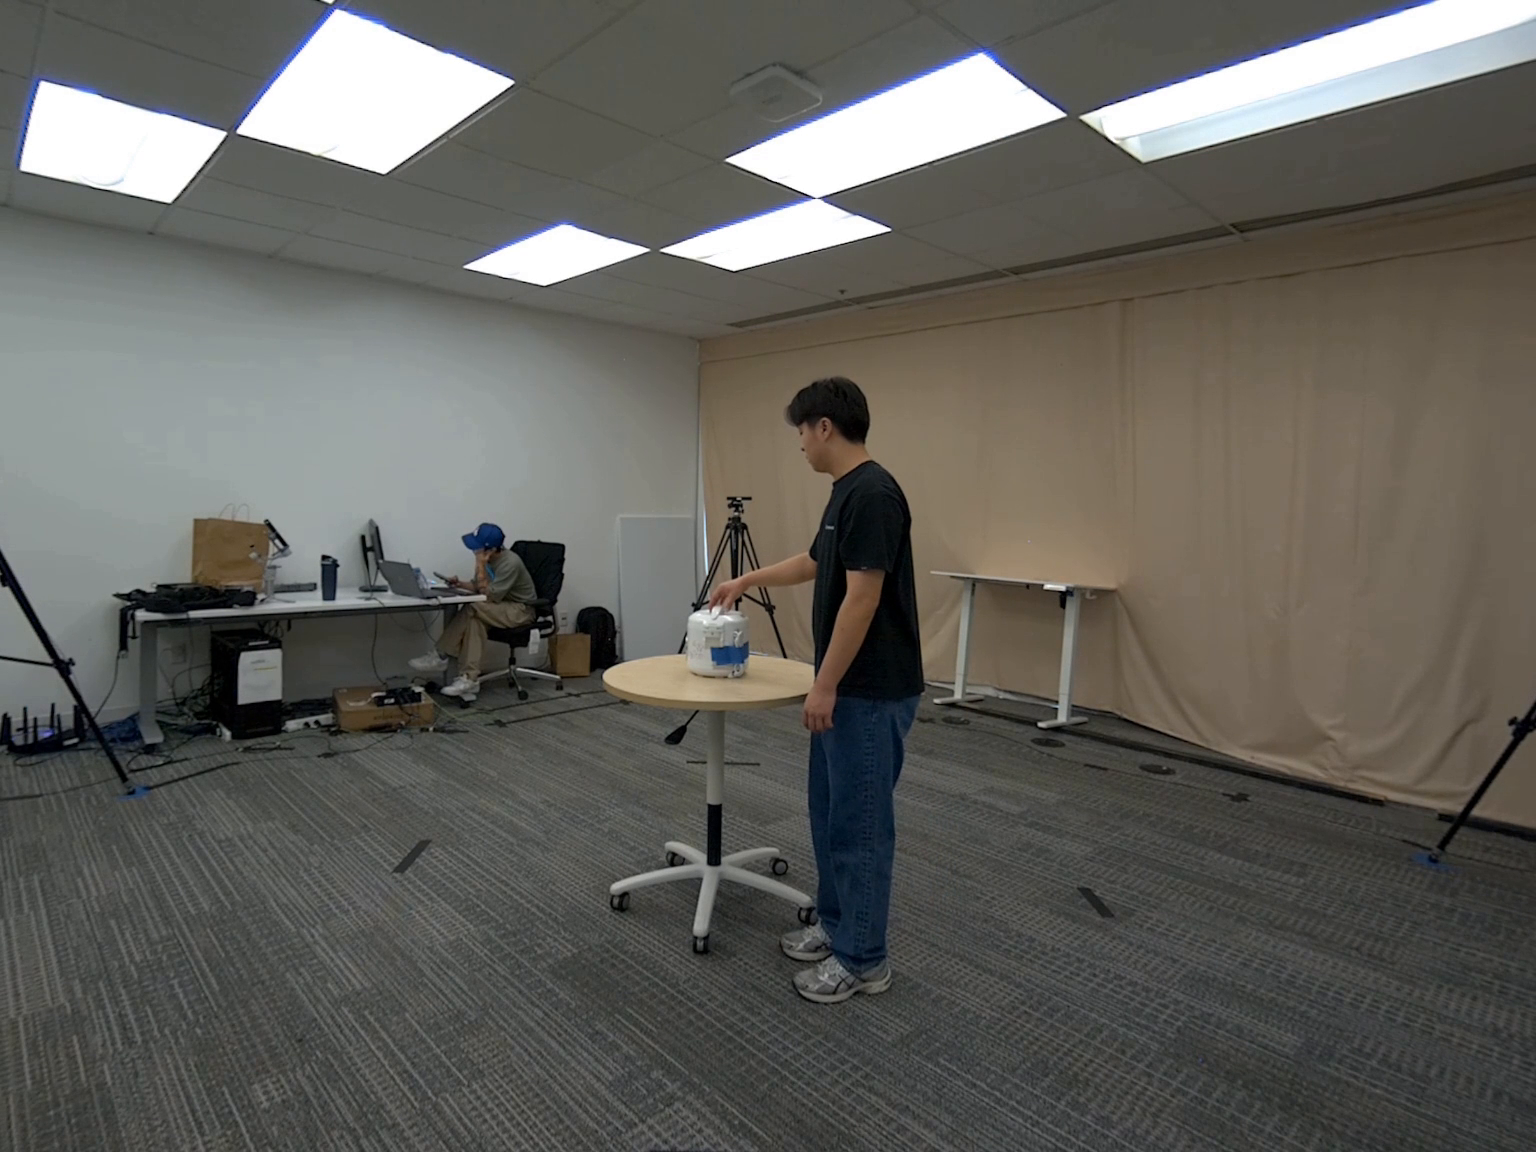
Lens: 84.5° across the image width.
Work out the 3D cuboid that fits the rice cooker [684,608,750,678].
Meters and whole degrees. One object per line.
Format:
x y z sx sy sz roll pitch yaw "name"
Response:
-0.172 0.216 2.863 0.219 0.232 0.220 2 5 8 "rice cooker"
